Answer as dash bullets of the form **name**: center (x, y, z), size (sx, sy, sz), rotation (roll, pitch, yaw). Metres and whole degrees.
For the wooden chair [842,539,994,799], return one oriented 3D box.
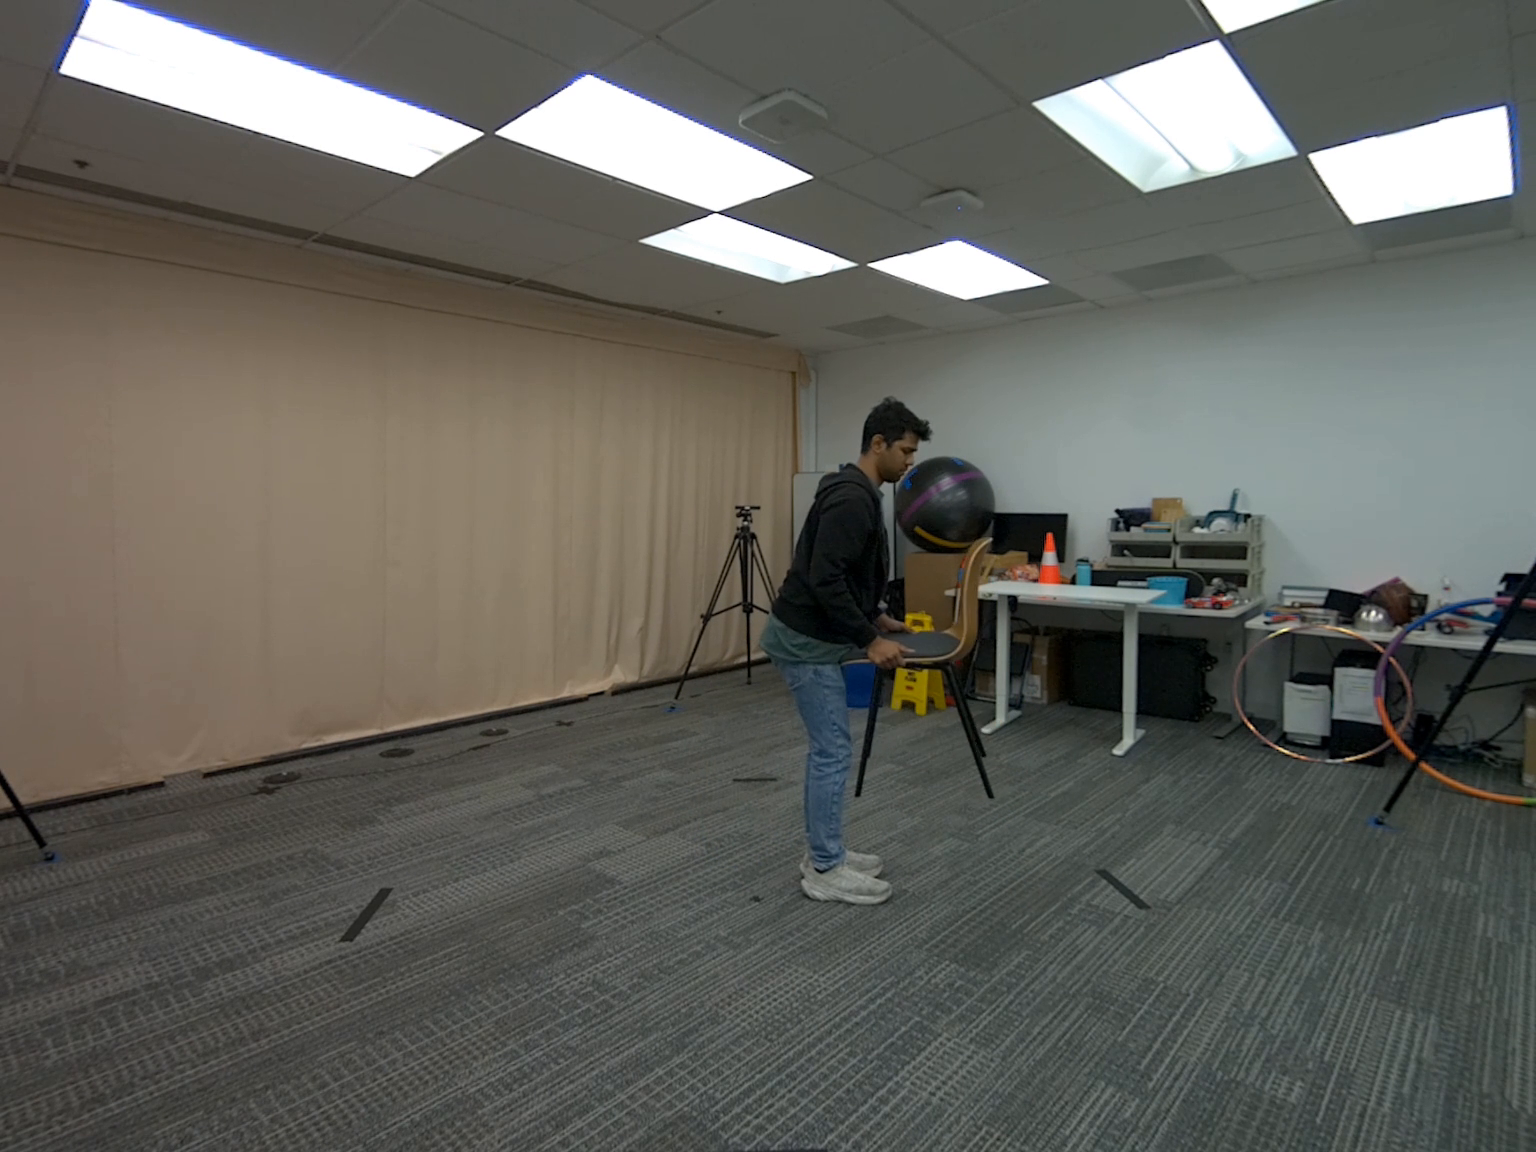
- **wooden chair**: center (0.528, 0.311, 3.007), size (0.531, 0.875, 0.472), rotation (0, 4, 14)
